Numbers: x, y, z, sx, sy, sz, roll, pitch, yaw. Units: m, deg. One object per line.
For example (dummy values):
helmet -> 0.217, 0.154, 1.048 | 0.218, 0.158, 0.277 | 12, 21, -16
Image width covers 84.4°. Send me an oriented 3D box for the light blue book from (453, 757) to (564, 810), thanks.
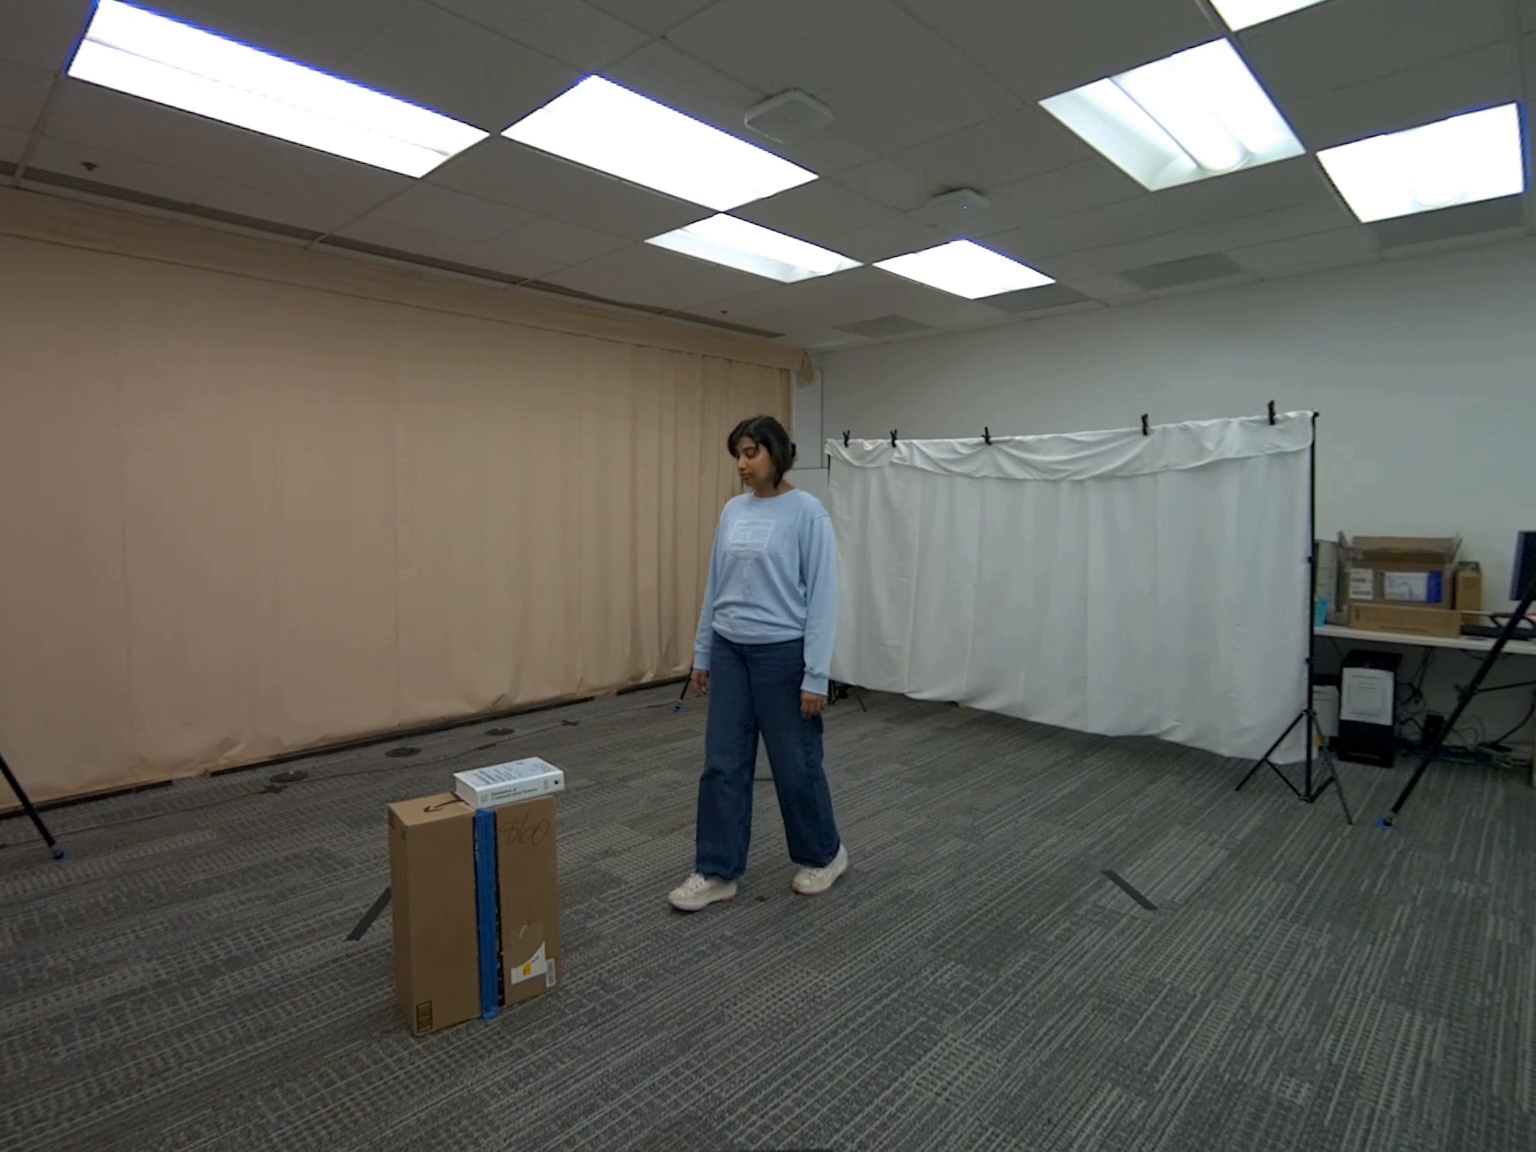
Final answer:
light blue book -> -0.752, 0.600, 2.446 | 0.253, 0.059, 0.197 | -4, 5, -38
